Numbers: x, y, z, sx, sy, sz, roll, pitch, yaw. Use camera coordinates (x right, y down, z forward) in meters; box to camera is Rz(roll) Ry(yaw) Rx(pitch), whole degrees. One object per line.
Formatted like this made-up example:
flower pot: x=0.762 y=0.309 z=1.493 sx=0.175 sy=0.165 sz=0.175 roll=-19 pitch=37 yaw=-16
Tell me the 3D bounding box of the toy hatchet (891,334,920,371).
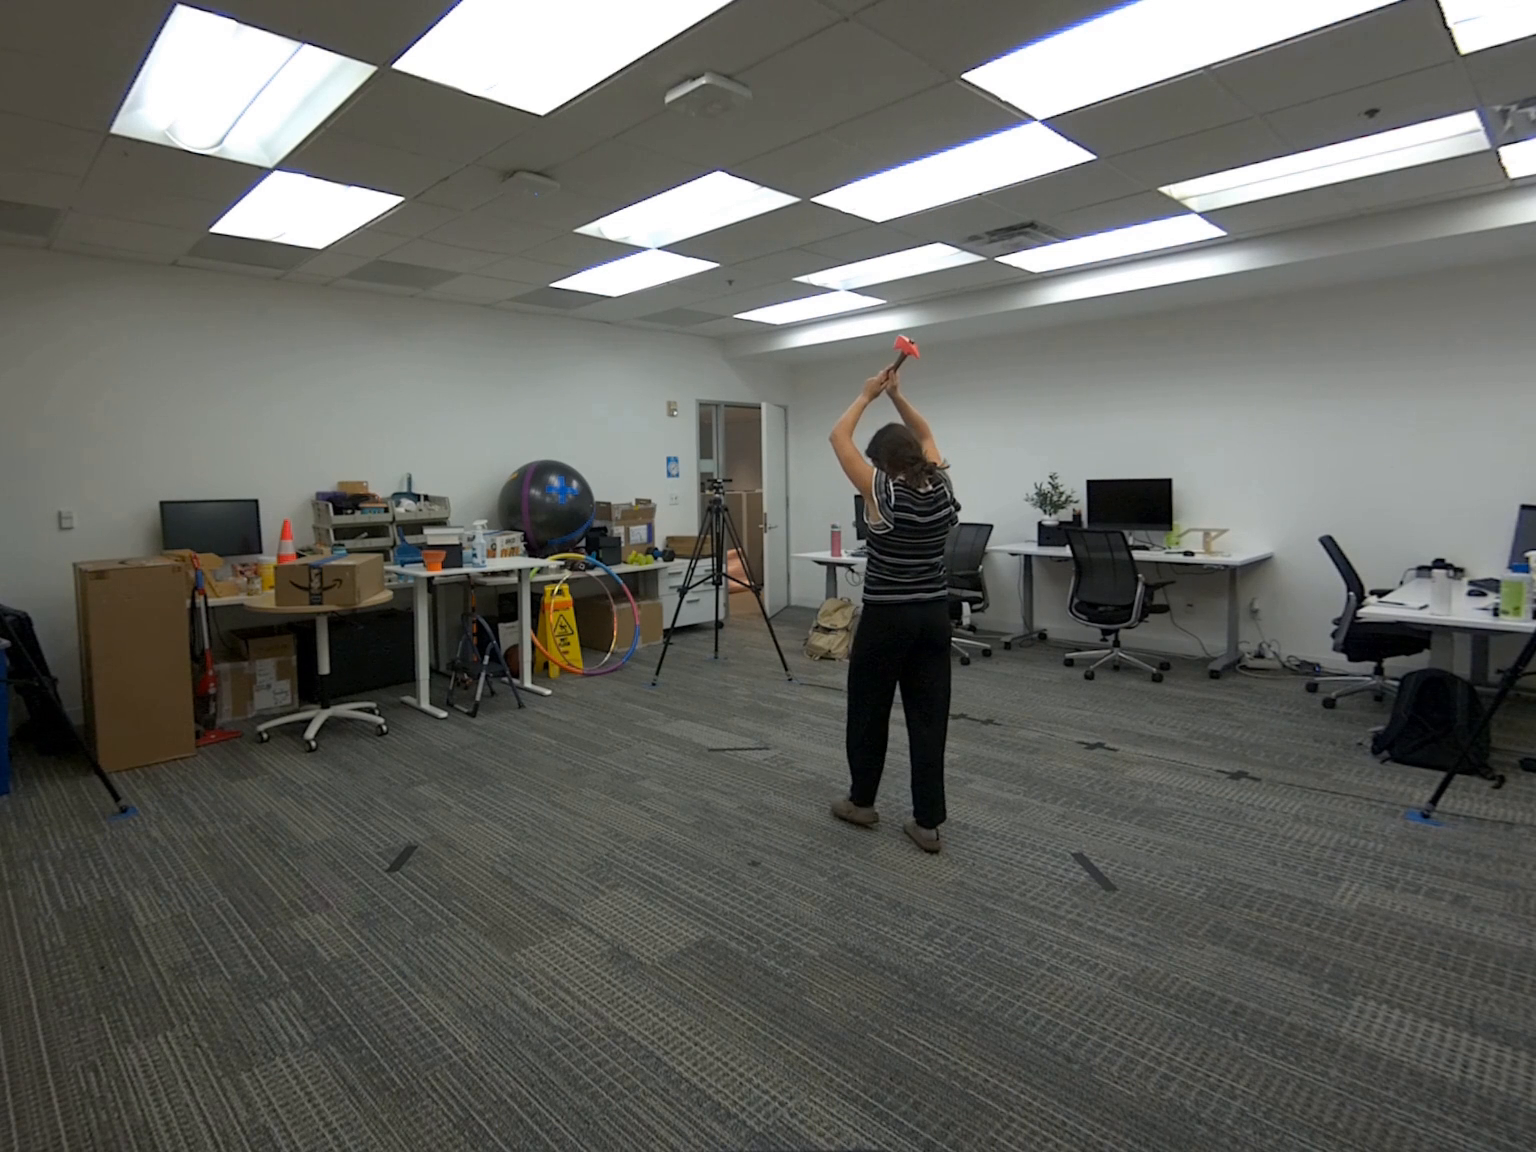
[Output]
toy hatchet: x=0.474 y=-0.836 z=3.321 sx=0.029 sy=0.133 sz=0.272 roll=-7 pitch=-16 yaw=-38
